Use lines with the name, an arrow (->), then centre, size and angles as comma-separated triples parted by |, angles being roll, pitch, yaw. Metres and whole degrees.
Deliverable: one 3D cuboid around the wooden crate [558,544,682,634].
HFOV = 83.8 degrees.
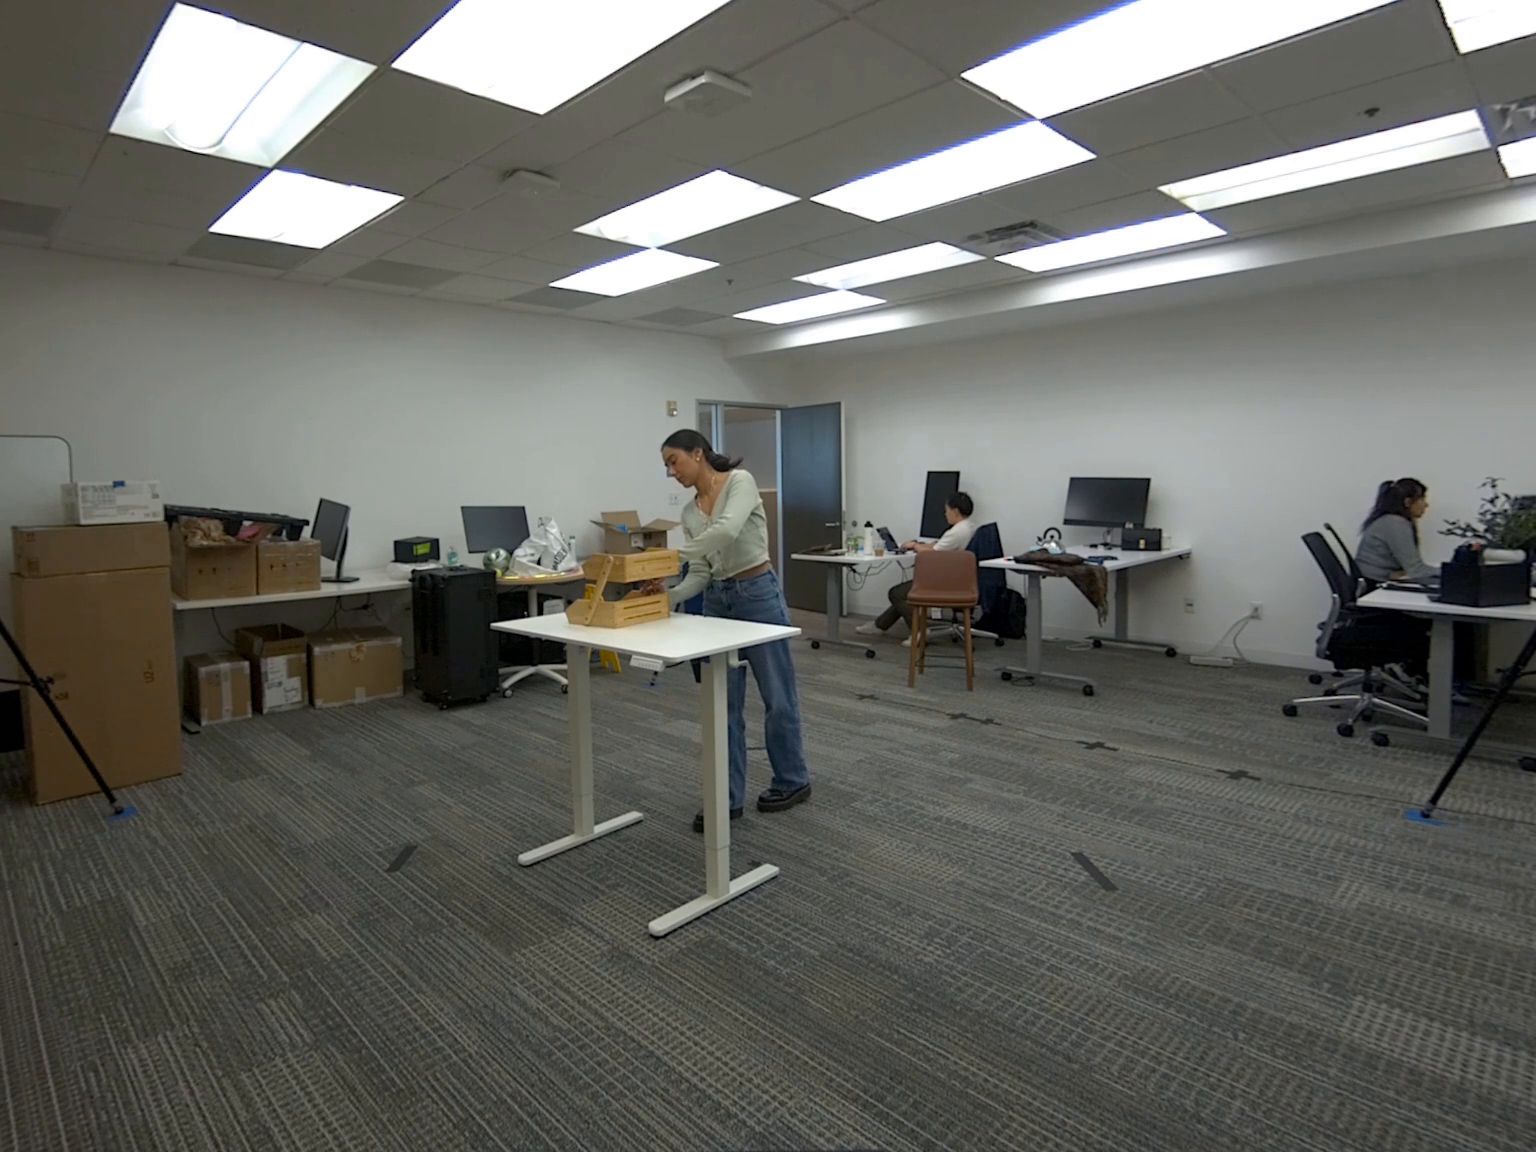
wooden crate -> -0.542, 0.035, 3.153 | 0.311, 0.272, 0.317 | 3, 7, 35
